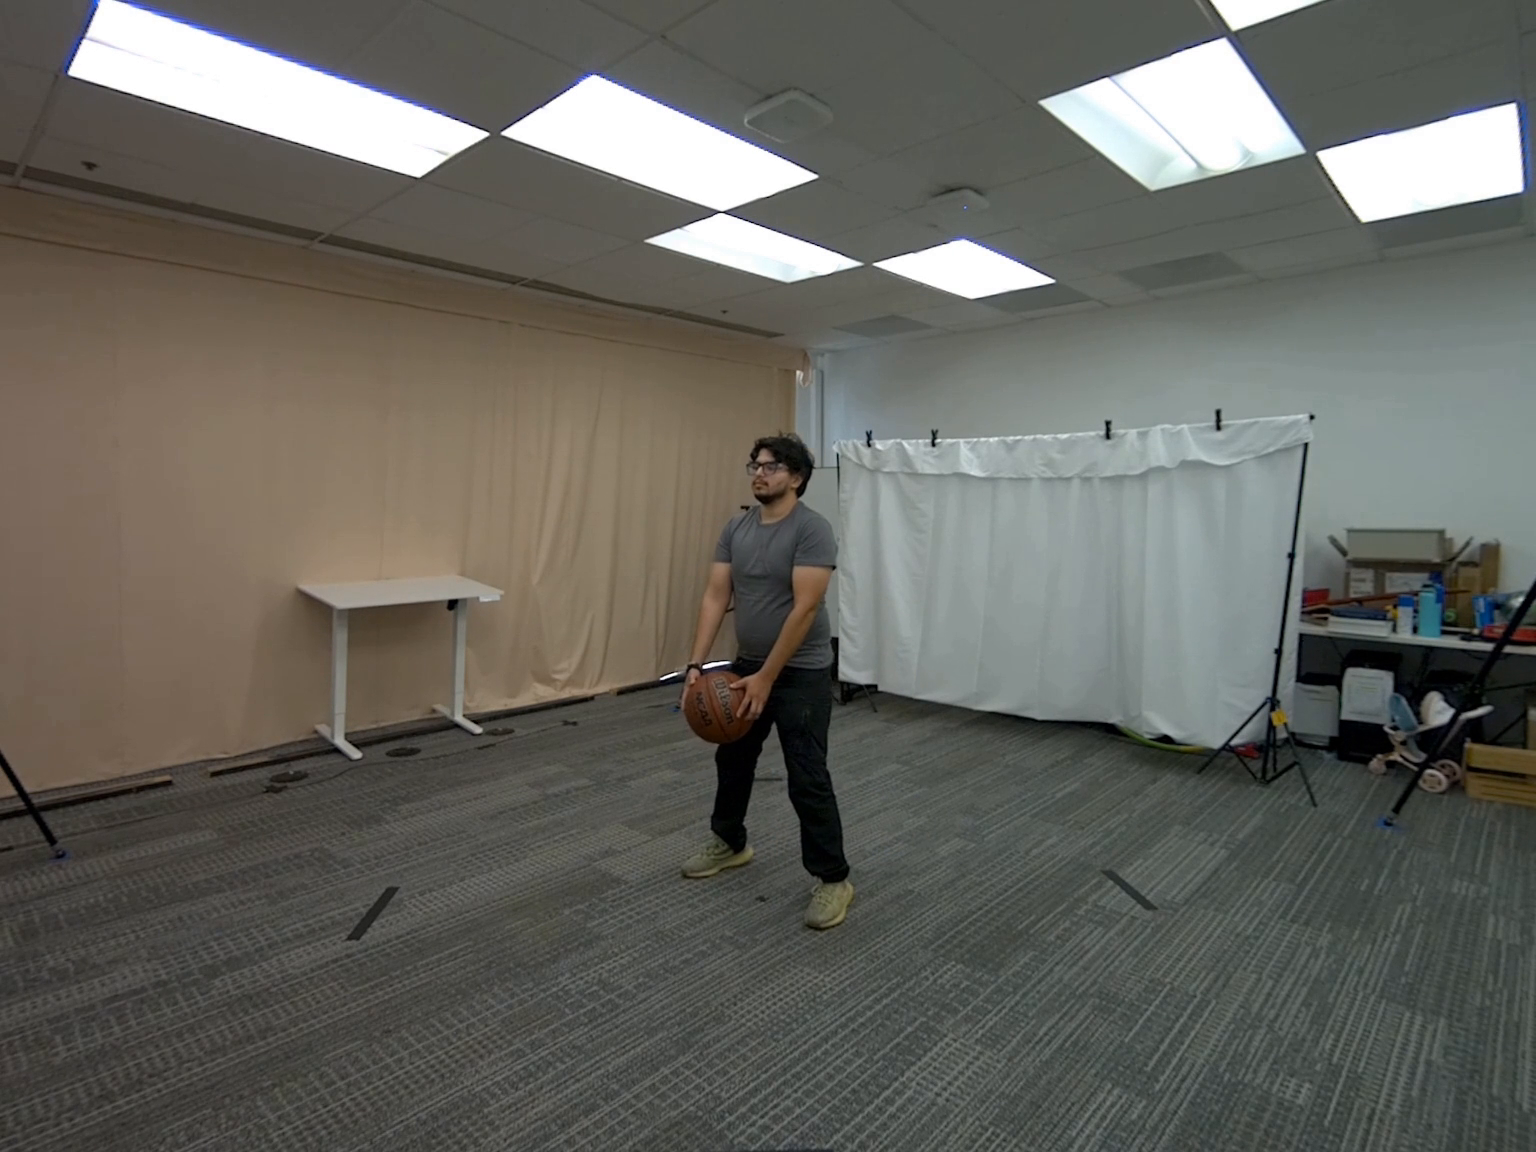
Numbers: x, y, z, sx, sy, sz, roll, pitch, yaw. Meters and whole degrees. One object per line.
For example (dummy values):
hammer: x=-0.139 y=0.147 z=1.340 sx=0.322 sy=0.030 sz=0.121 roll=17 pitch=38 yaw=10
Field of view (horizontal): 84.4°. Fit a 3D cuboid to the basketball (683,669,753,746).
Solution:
basketball: x=-0.162 y=0.430 z=2.799 sx=0.236 sy=0.235 sz=0.237 roll=0 pitch=4 yaw=-2
